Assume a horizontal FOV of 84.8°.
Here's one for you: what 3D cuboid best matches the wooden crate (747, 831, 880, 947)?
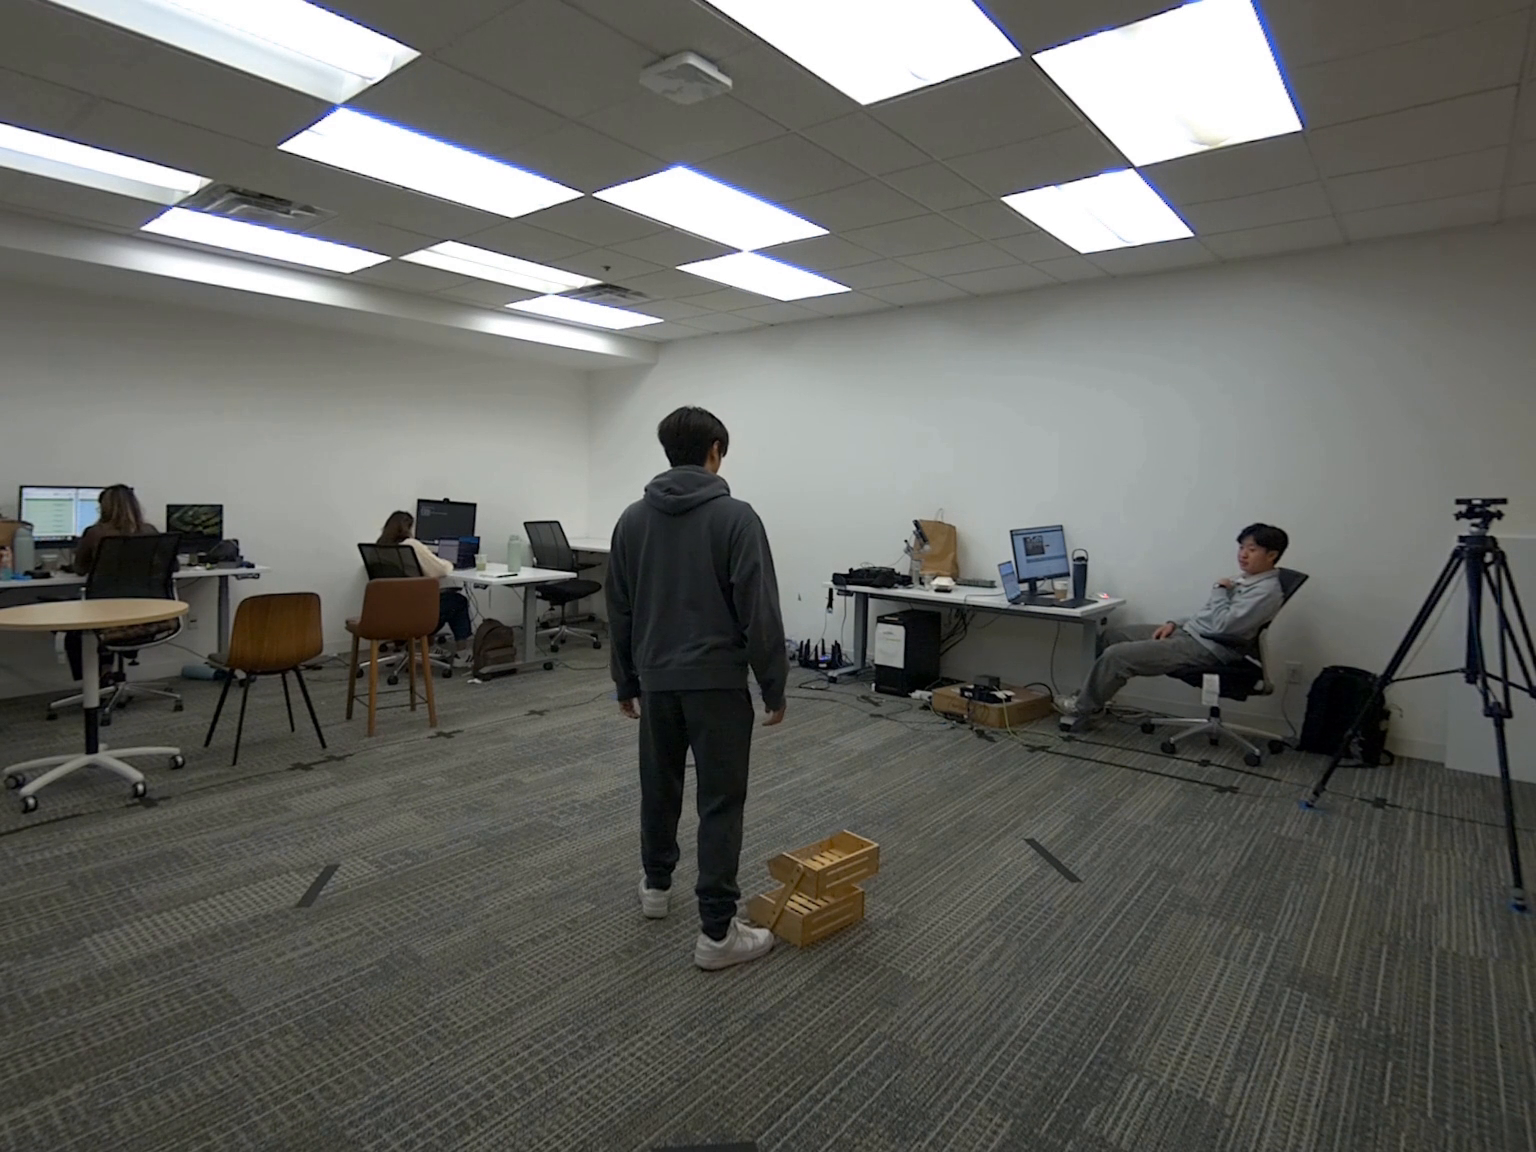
[{"bbox_3d":[0.133,0.978,2.751,0.314,0.272,0.312,-3,7,-43],"label":"wooden crate"}]
